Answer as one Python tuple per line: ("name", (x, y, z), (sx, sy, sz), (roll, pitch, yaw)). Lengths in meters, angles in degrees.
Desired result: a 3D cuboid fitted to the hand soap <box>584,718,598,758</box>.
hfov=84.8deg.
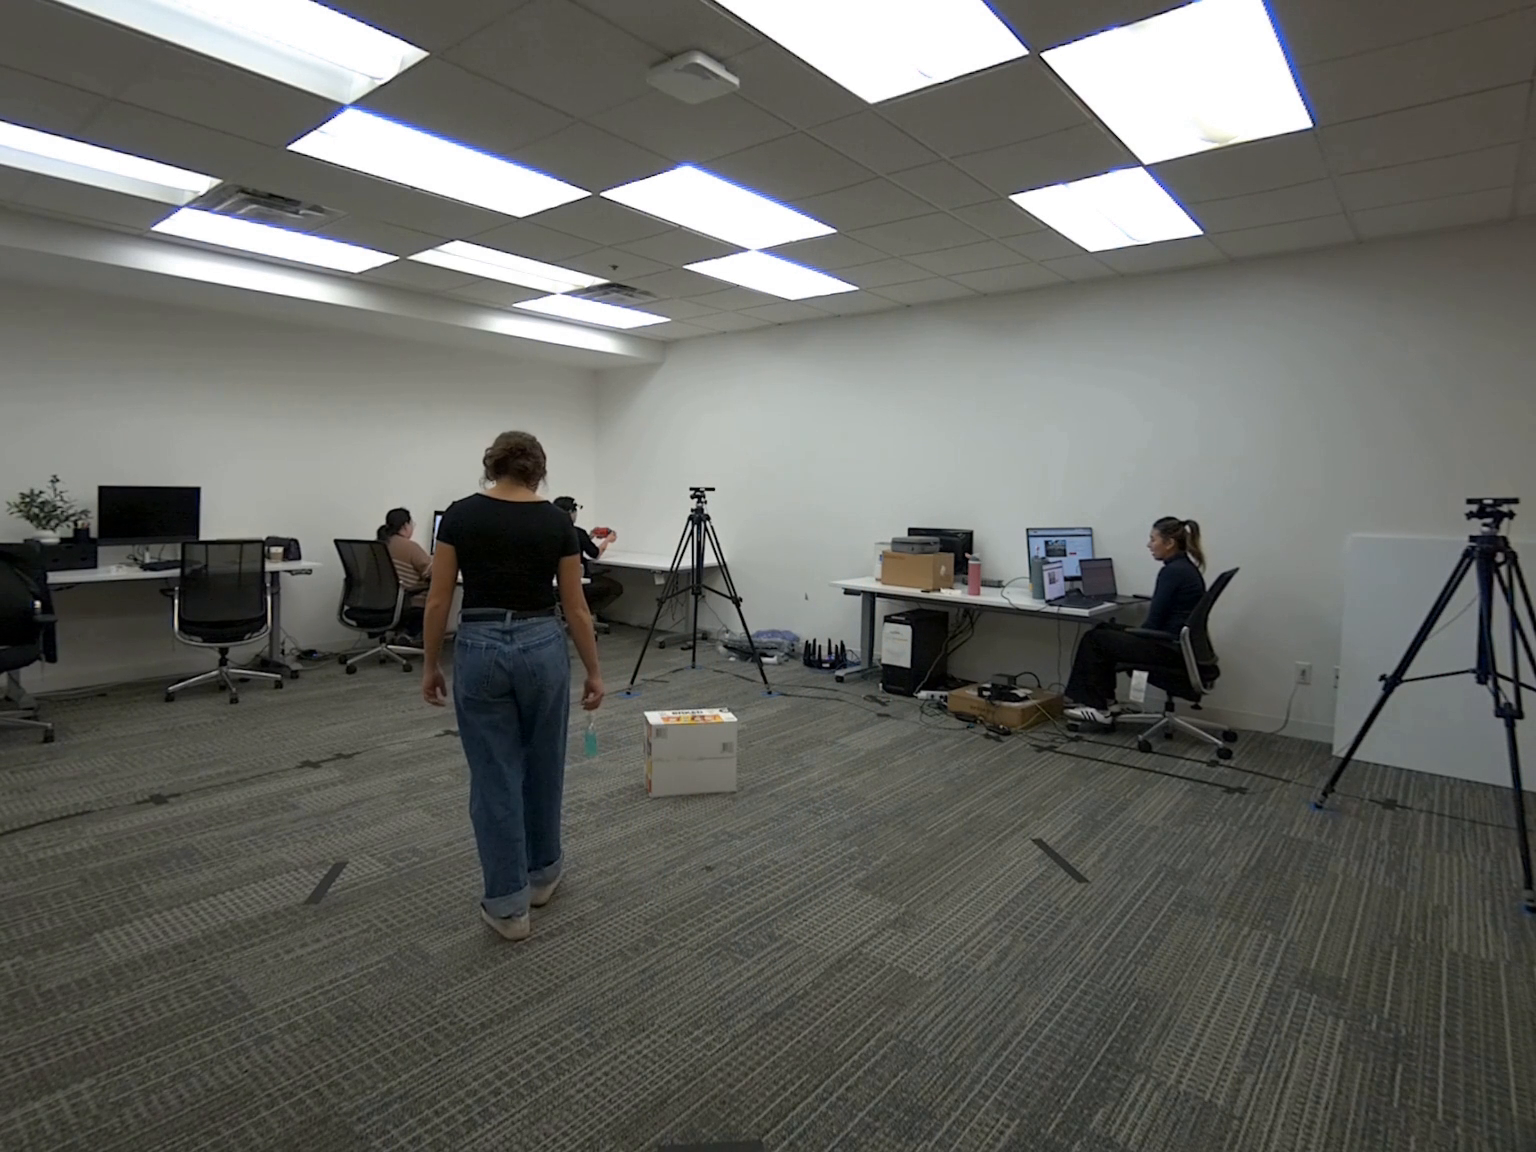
("hand soap", (-0.591, 0.507, 2.789), (0.043, 0.168, 0.086), (-1, 0, -14))
